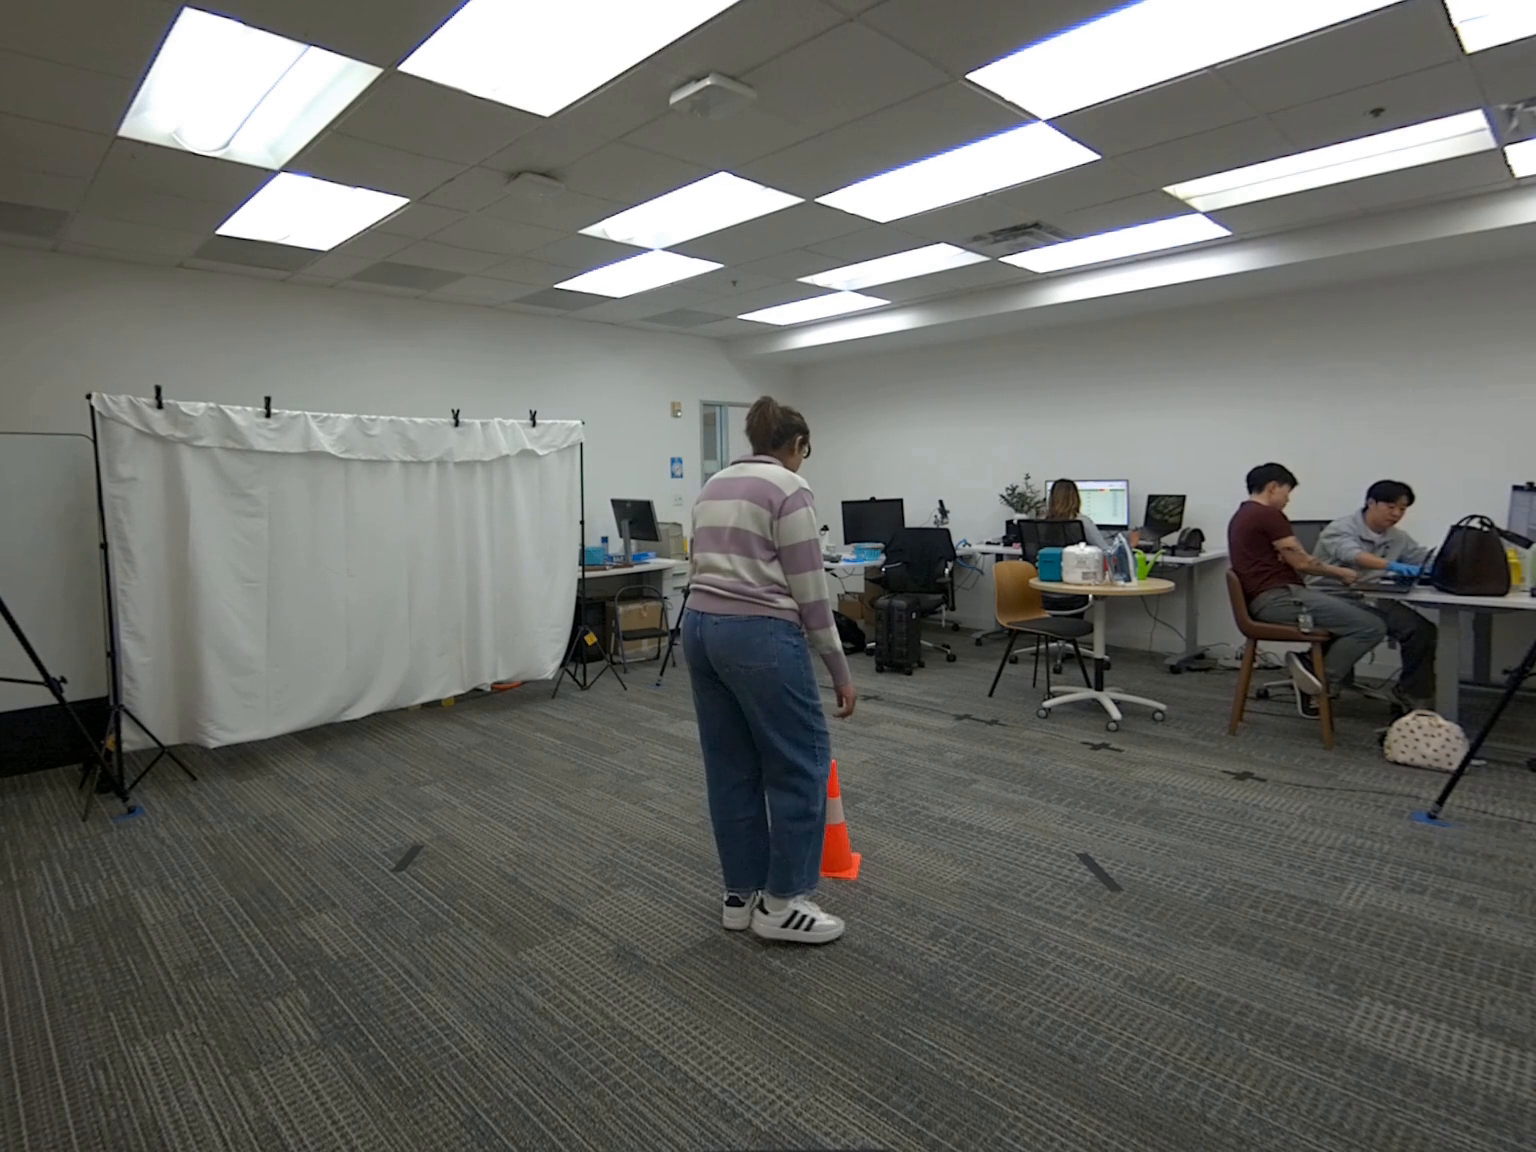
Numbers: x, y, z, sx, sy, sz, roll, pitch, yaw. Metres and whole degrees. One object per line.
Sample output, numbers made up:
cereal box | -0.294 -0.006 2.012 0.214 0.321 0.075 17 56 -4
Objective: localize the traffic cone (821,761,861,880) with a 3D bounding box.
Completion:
traffic cone | 0.228 0.860 3.080 0.206 0.382 0.203 0 4 13
